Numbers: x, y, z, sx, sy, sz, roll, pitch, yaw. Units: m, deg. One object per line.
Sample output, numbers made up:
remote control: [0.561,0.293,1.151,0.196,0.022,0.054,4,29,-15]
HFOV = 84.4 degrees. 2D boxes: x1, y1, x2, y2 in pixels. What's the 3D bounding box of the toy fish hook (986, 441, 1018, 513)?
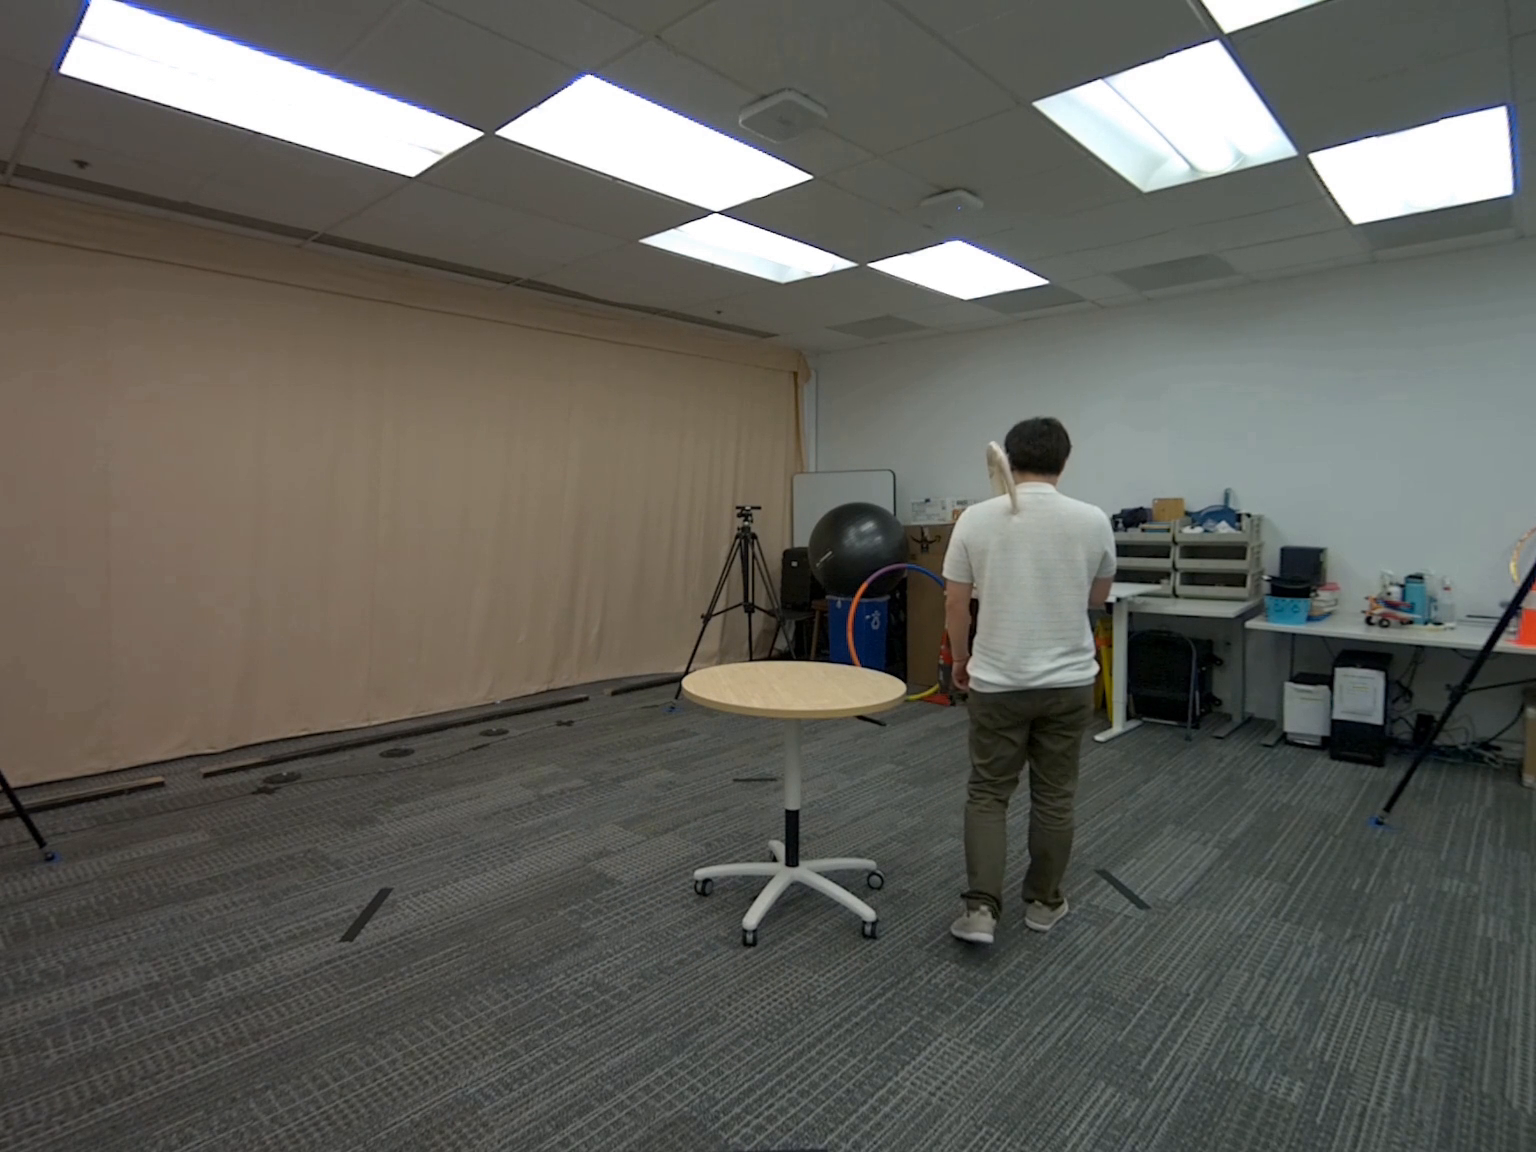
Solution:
toy fish hook: [0.802,-0.203,2.750,0.049,0.493,0.228,-14,34,11]
